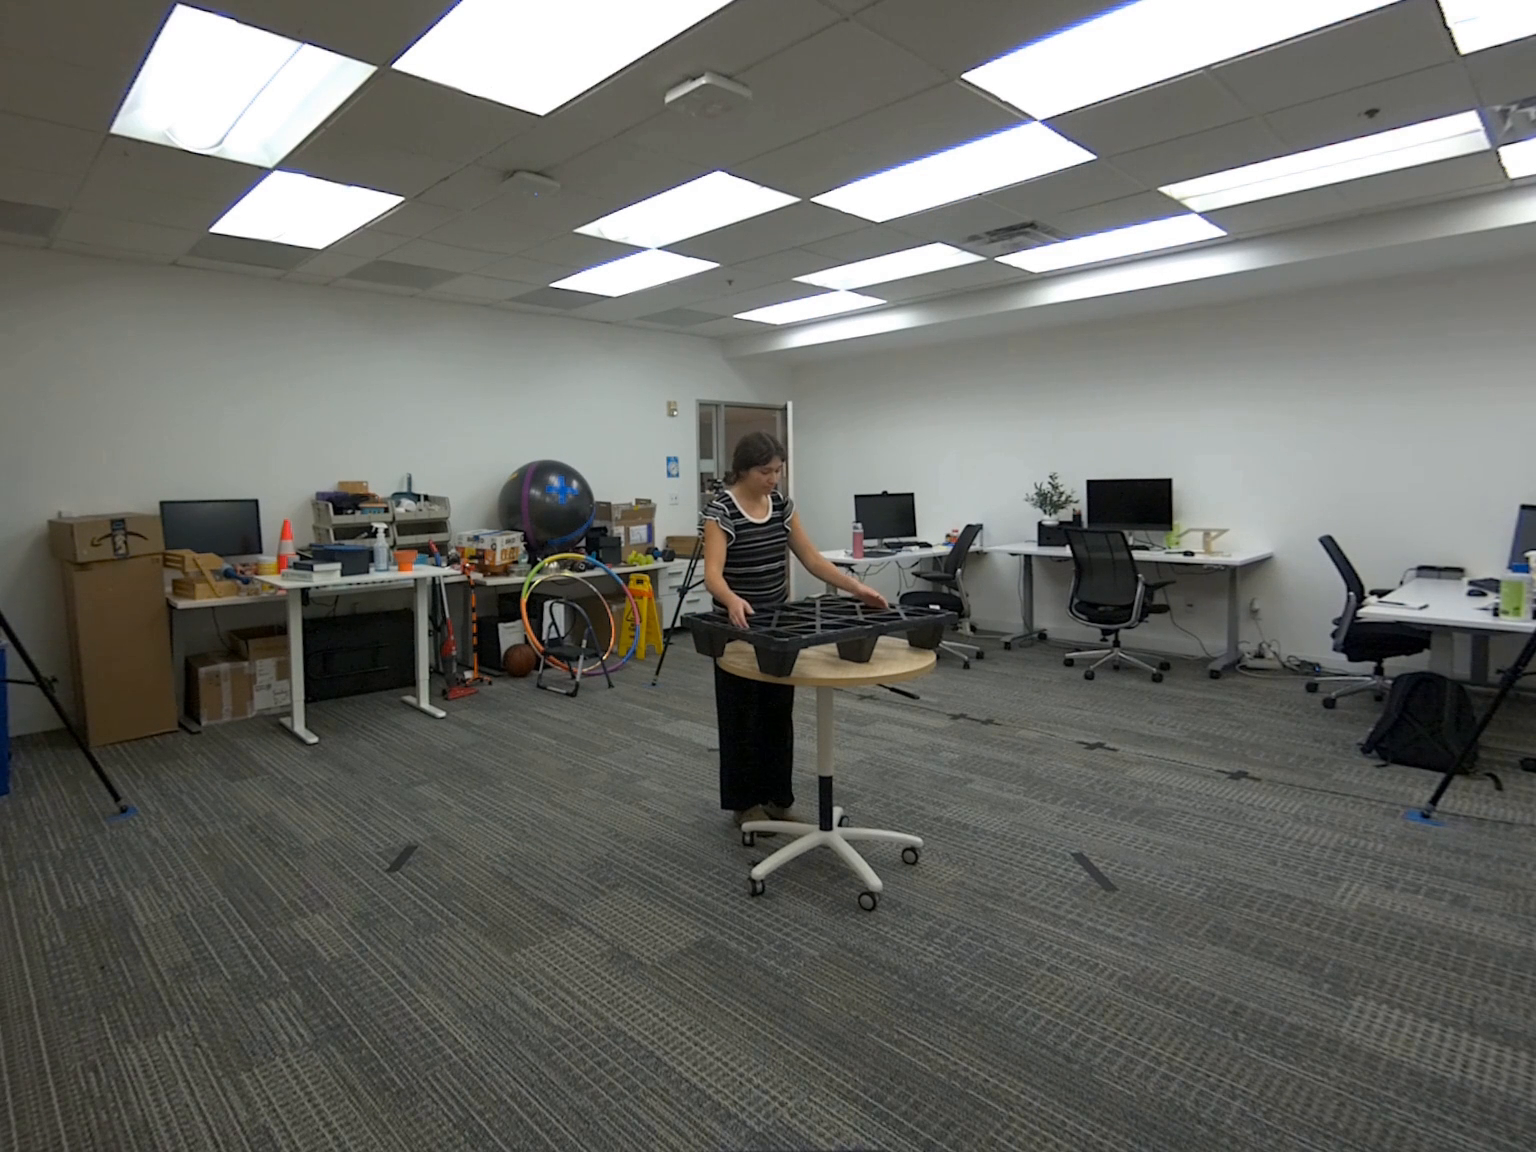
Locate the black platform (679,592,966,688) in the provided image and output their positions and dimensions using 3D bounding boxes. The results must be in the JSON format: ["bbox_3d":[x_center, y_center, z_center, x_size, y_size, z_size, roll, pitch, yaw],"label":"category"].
[{"bbox_3d":[0.186,0.201,3.033,0.785,0.142,0.624,-6,9,-35],"label":"black platform"}]
